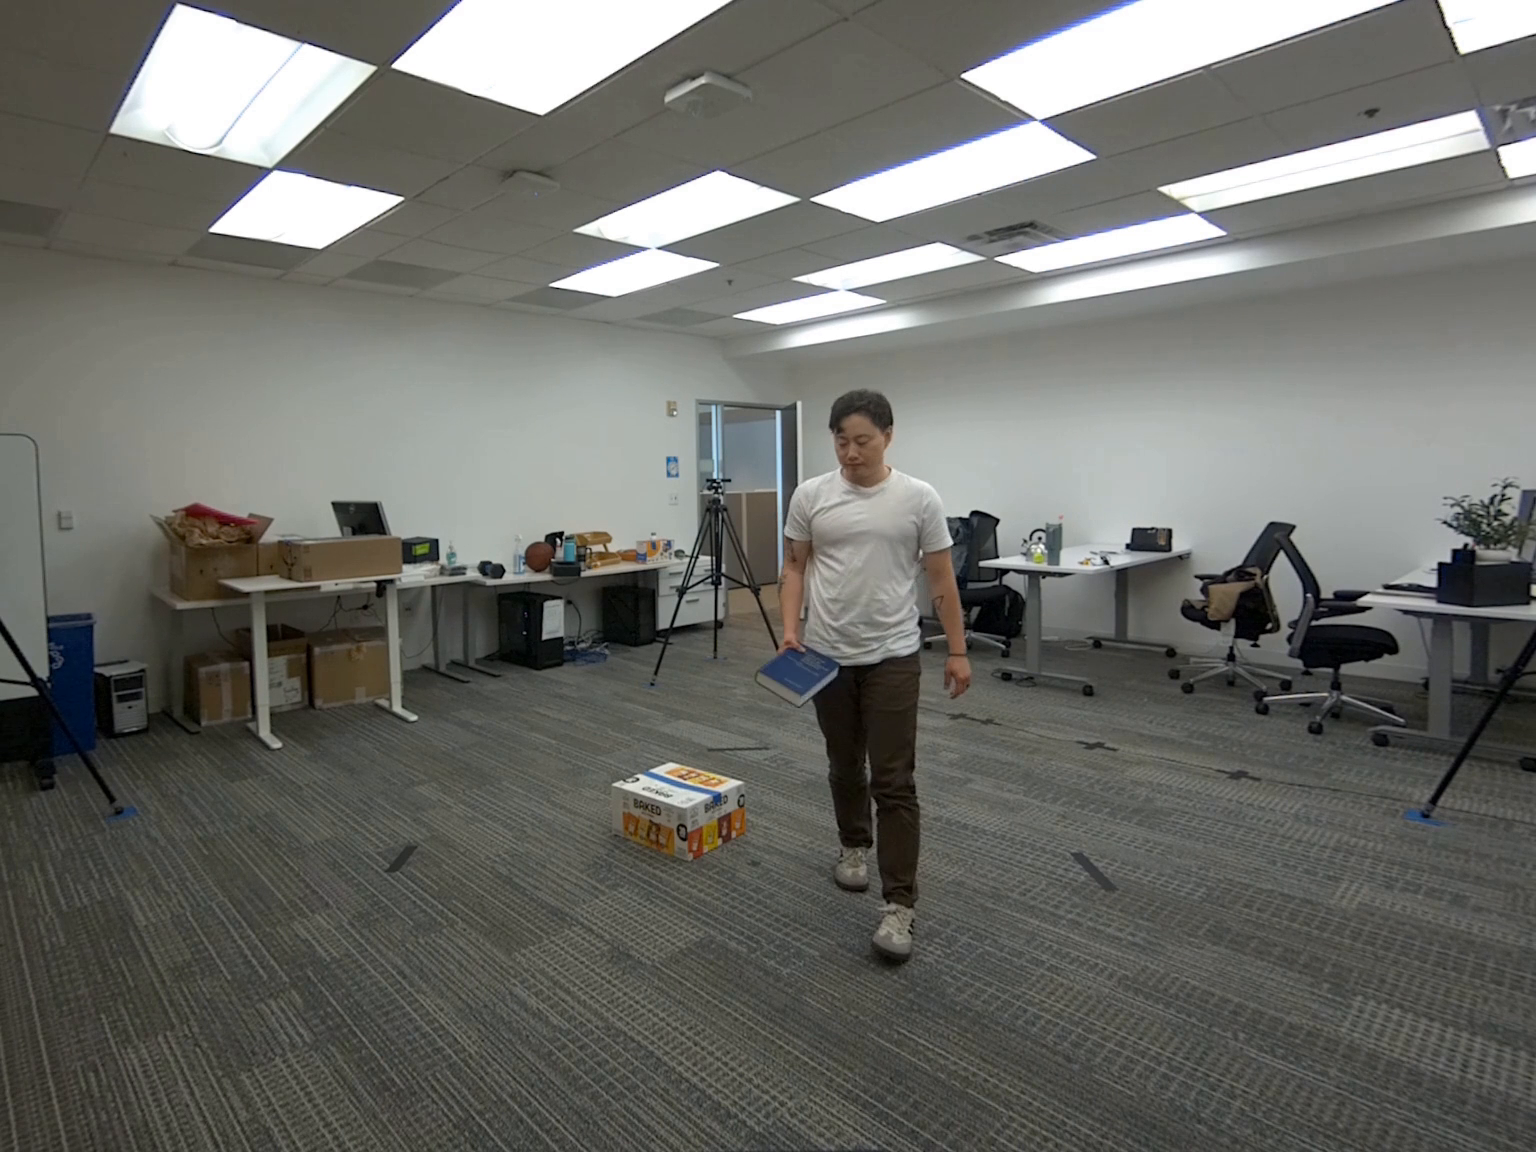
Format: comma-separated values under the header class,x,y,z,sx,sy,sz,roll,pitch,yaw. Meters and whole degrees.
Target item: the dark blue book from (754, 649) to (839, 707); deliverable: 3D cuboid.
class,x,y,z,sx,sy,sz,roll,pitch,yaw
dark blue book,0.091,0.294,2.595,0.168,0.044,0.242,21,25,23
